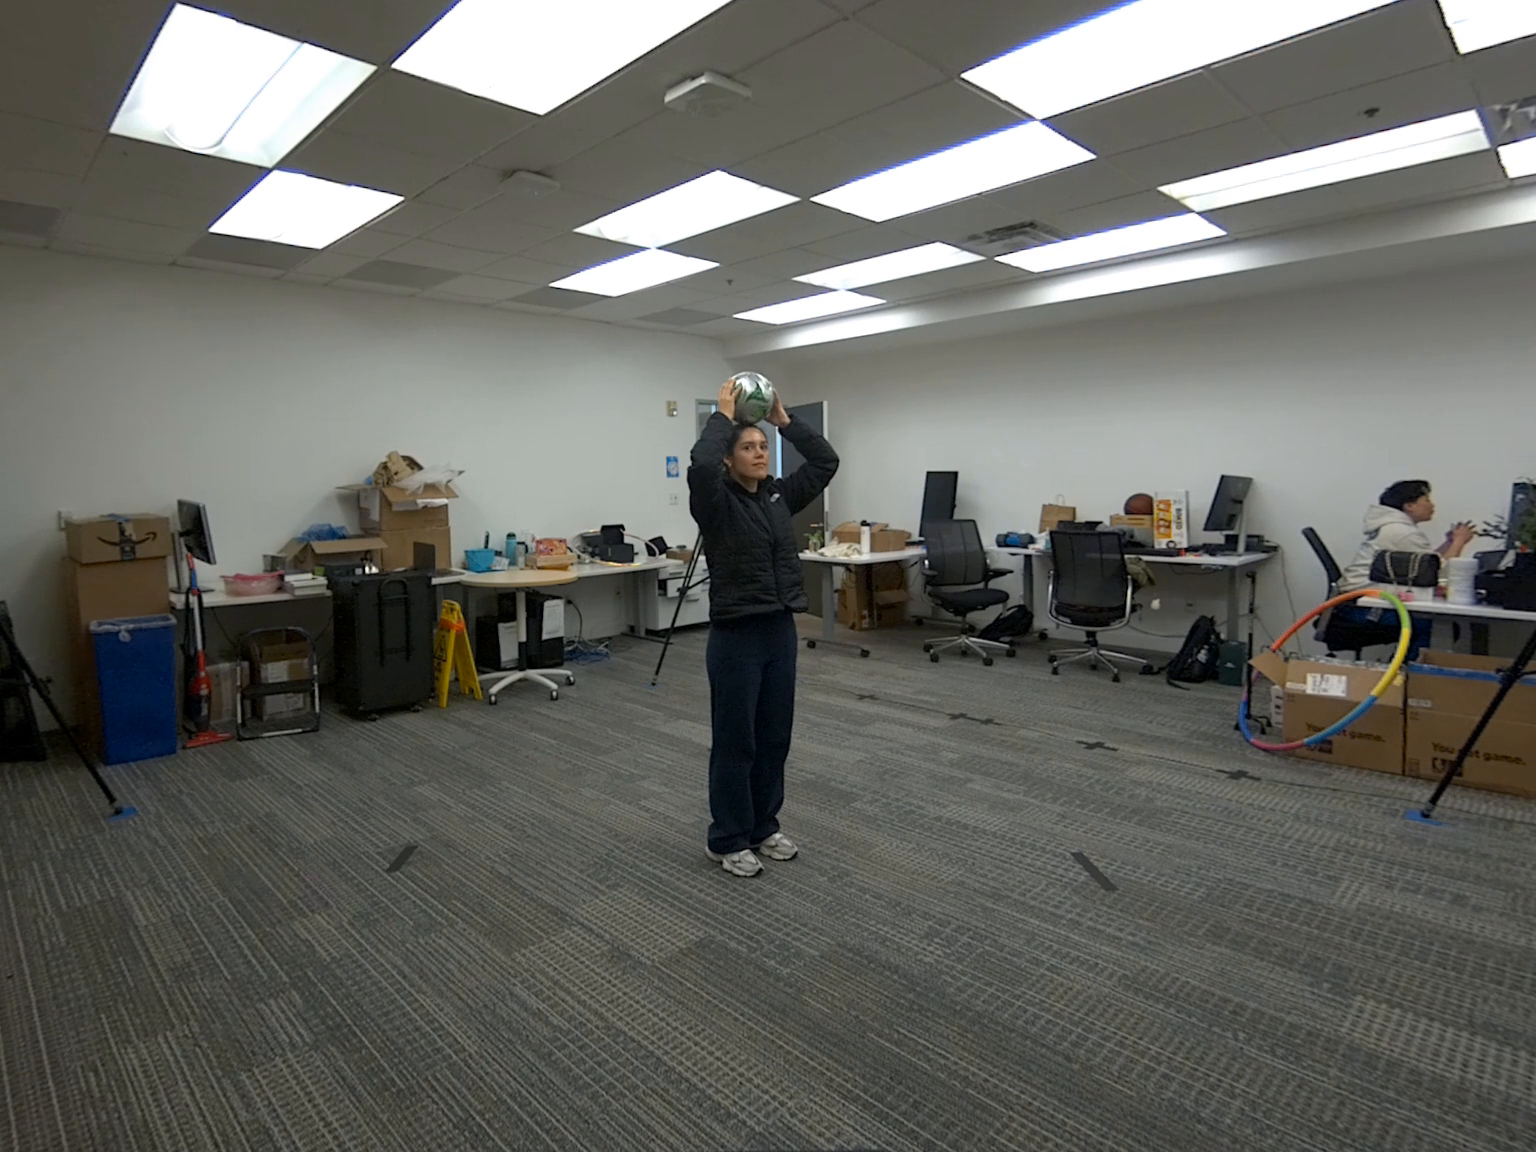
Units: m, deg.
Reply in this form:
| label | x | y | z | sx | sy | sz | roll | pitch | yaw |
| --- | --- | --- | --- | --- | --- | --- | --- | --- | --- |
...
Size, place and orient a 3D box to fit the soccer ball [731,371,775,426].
| label | x | y | z | sx | sy | sz | roll | pitch | yaw |
| --- | --- | --- | --- | --- | --- | --- | --- | --- | --- |
| soccer ball | -0.071 | -0.637 | 3.071 | 0.187 | 0.187 | 0.188 | -1 | 5 | -2 |
